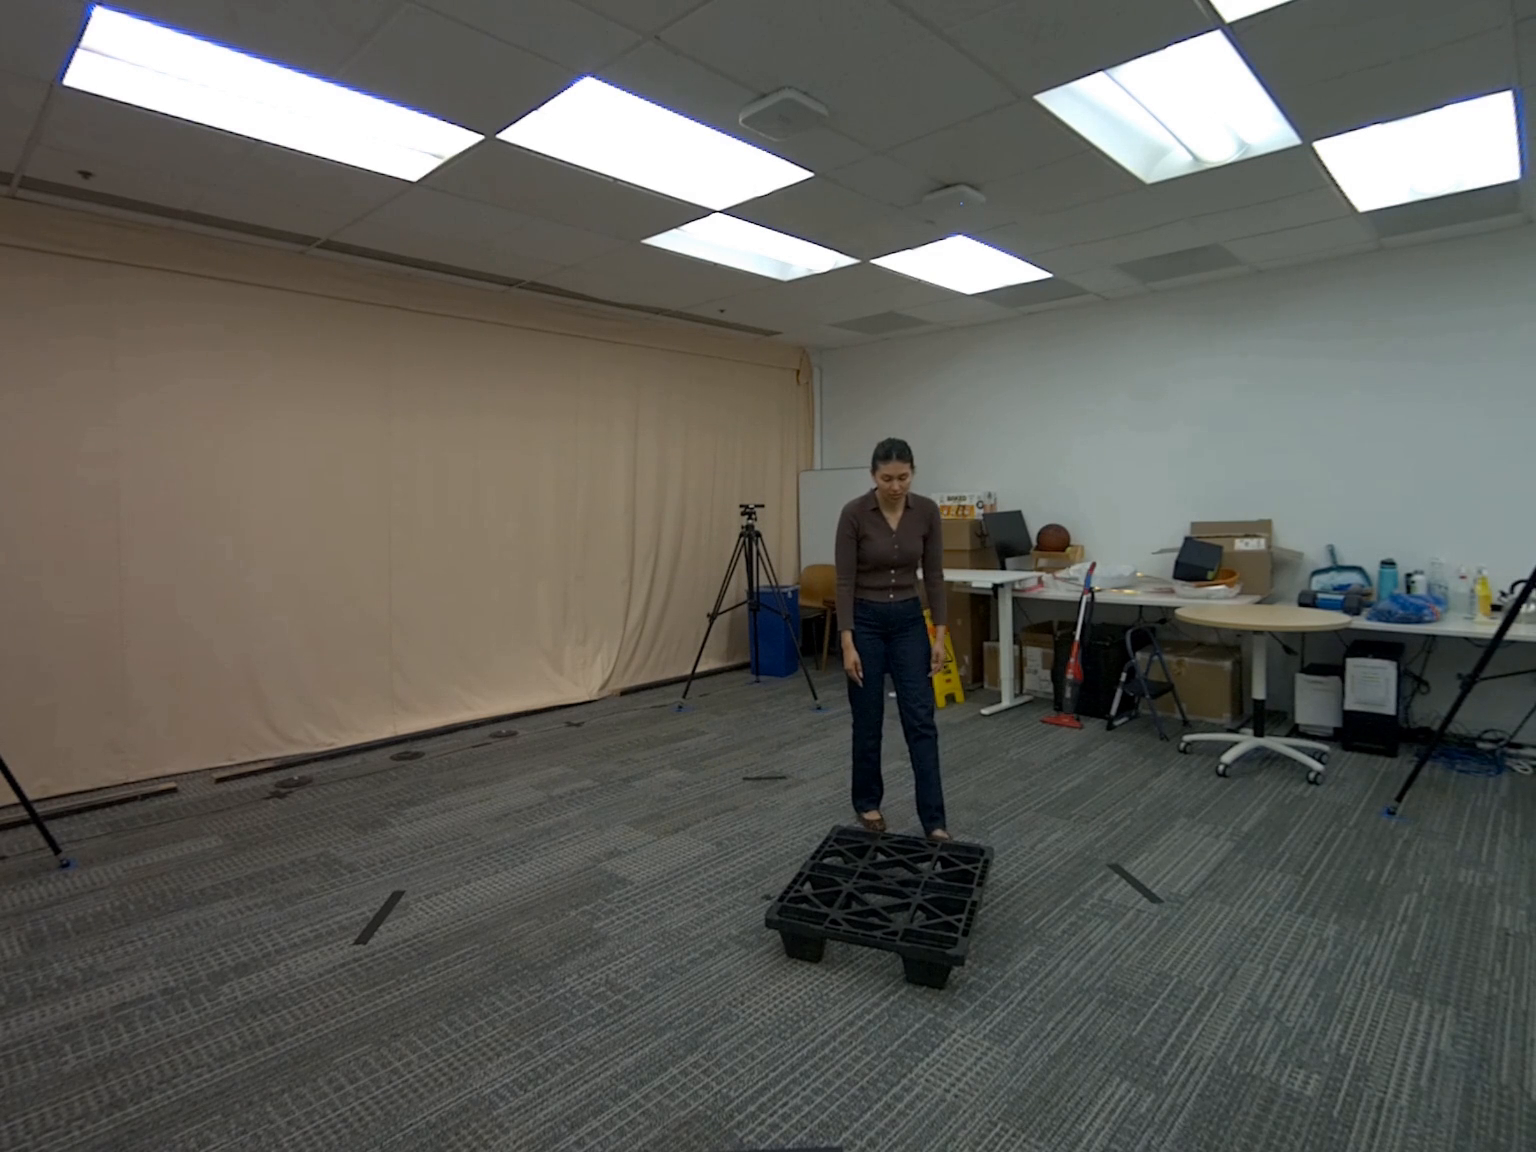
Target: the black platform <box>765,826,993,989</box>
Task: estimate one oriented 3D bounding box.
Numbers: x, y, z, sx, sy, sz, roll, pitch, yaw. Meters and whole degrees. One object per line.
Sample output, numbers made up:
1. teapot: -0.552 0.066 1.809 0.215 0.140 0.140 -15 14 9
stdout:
1. black platform: 0.411 1.078 2.820 0.620 0.143 0.789 2 6 22
